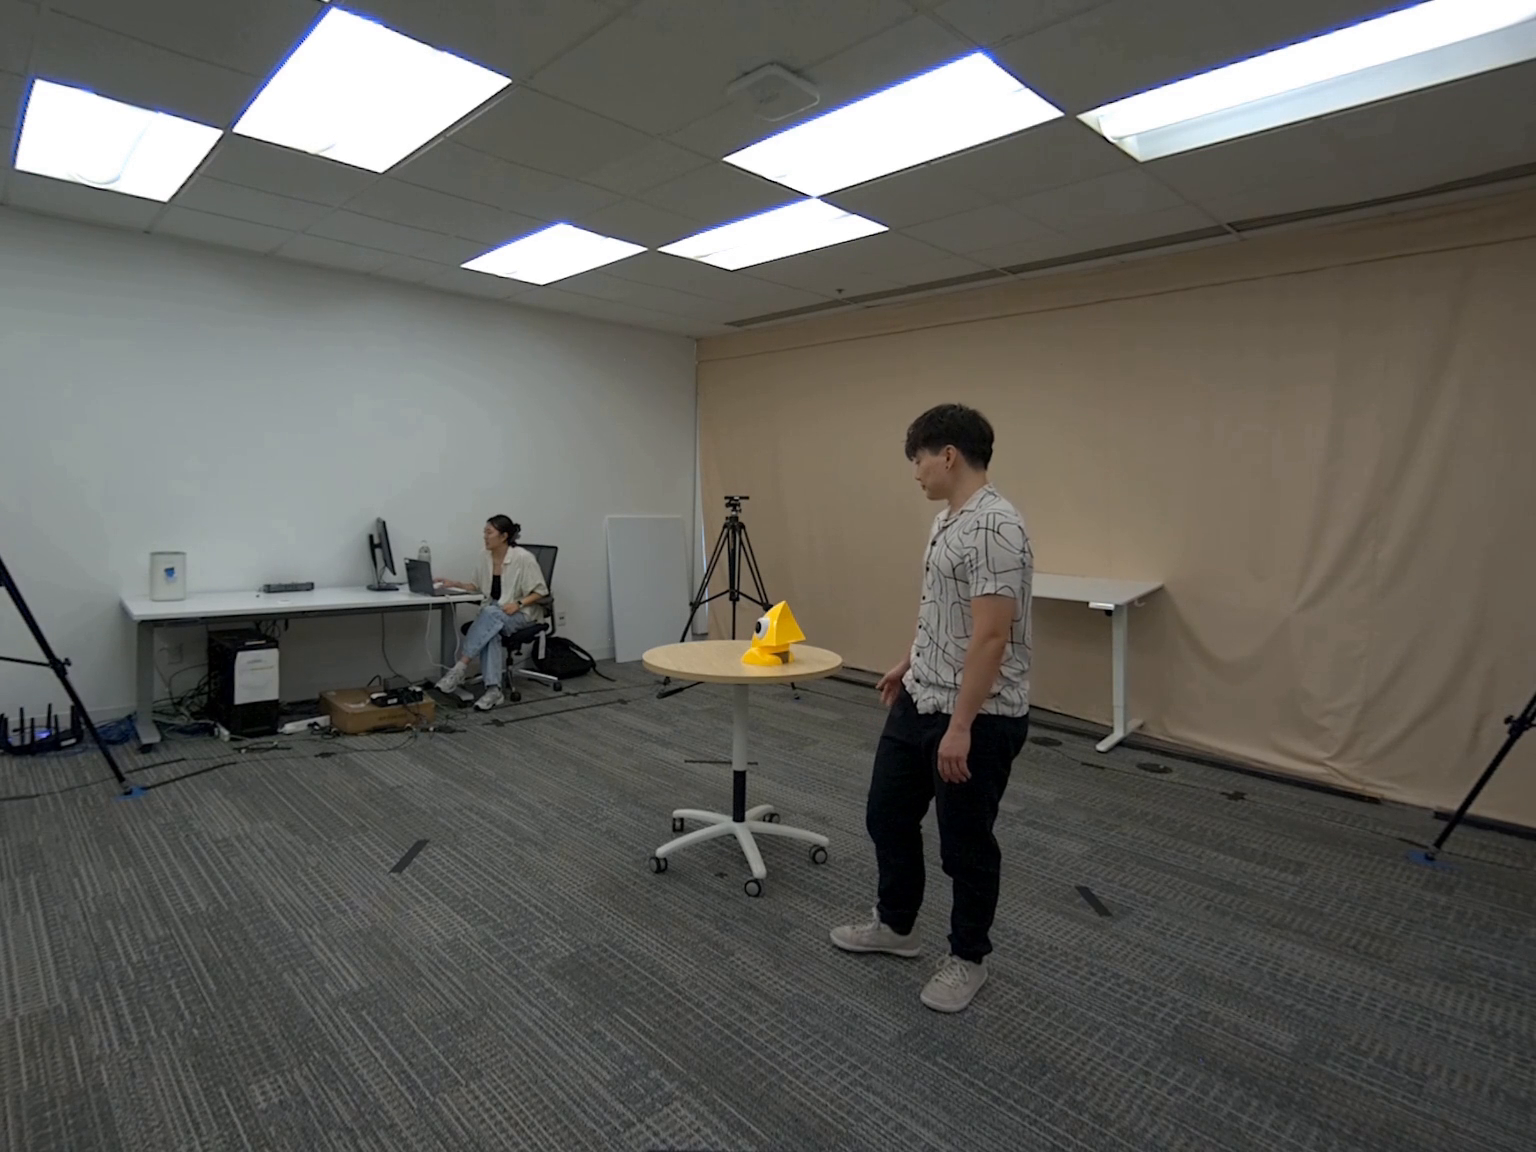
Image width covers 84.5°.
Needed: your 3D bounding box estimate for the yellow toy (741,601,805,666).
[{"bbox_3d":[0.002,0.204,3.148,0.198,0.230,0.200,4,5,36],"label":"yellow toy"}]
